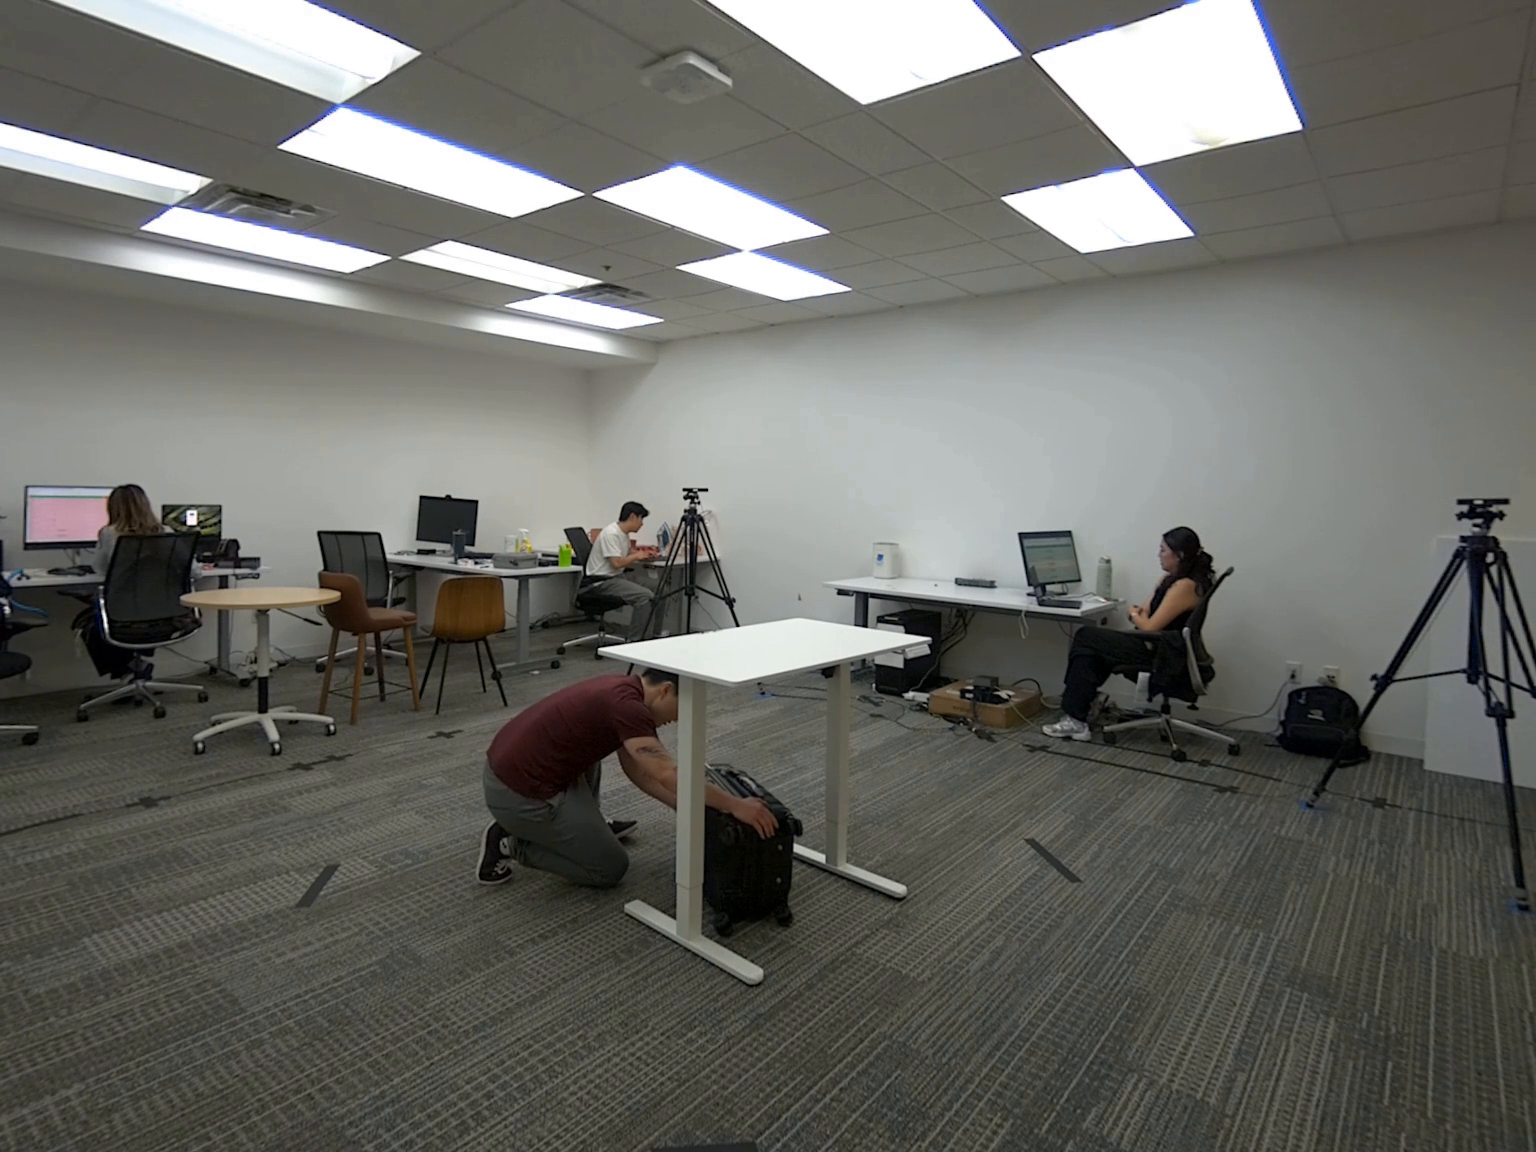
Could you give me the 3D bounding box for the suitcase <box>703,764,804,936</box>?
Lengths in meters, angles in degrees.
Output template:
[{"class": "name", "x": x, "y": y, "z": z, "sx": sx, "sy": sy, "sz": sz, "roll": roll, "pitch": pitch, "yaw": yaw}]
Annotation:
[{"class": "suitcase", "x": -0.211, "y": 0.870, "z": 3.111, "sx": 0.251, "sy": 0.382, "sz": 1.005, "roll": 3, "pitch": 6, "yaw": -23}]
